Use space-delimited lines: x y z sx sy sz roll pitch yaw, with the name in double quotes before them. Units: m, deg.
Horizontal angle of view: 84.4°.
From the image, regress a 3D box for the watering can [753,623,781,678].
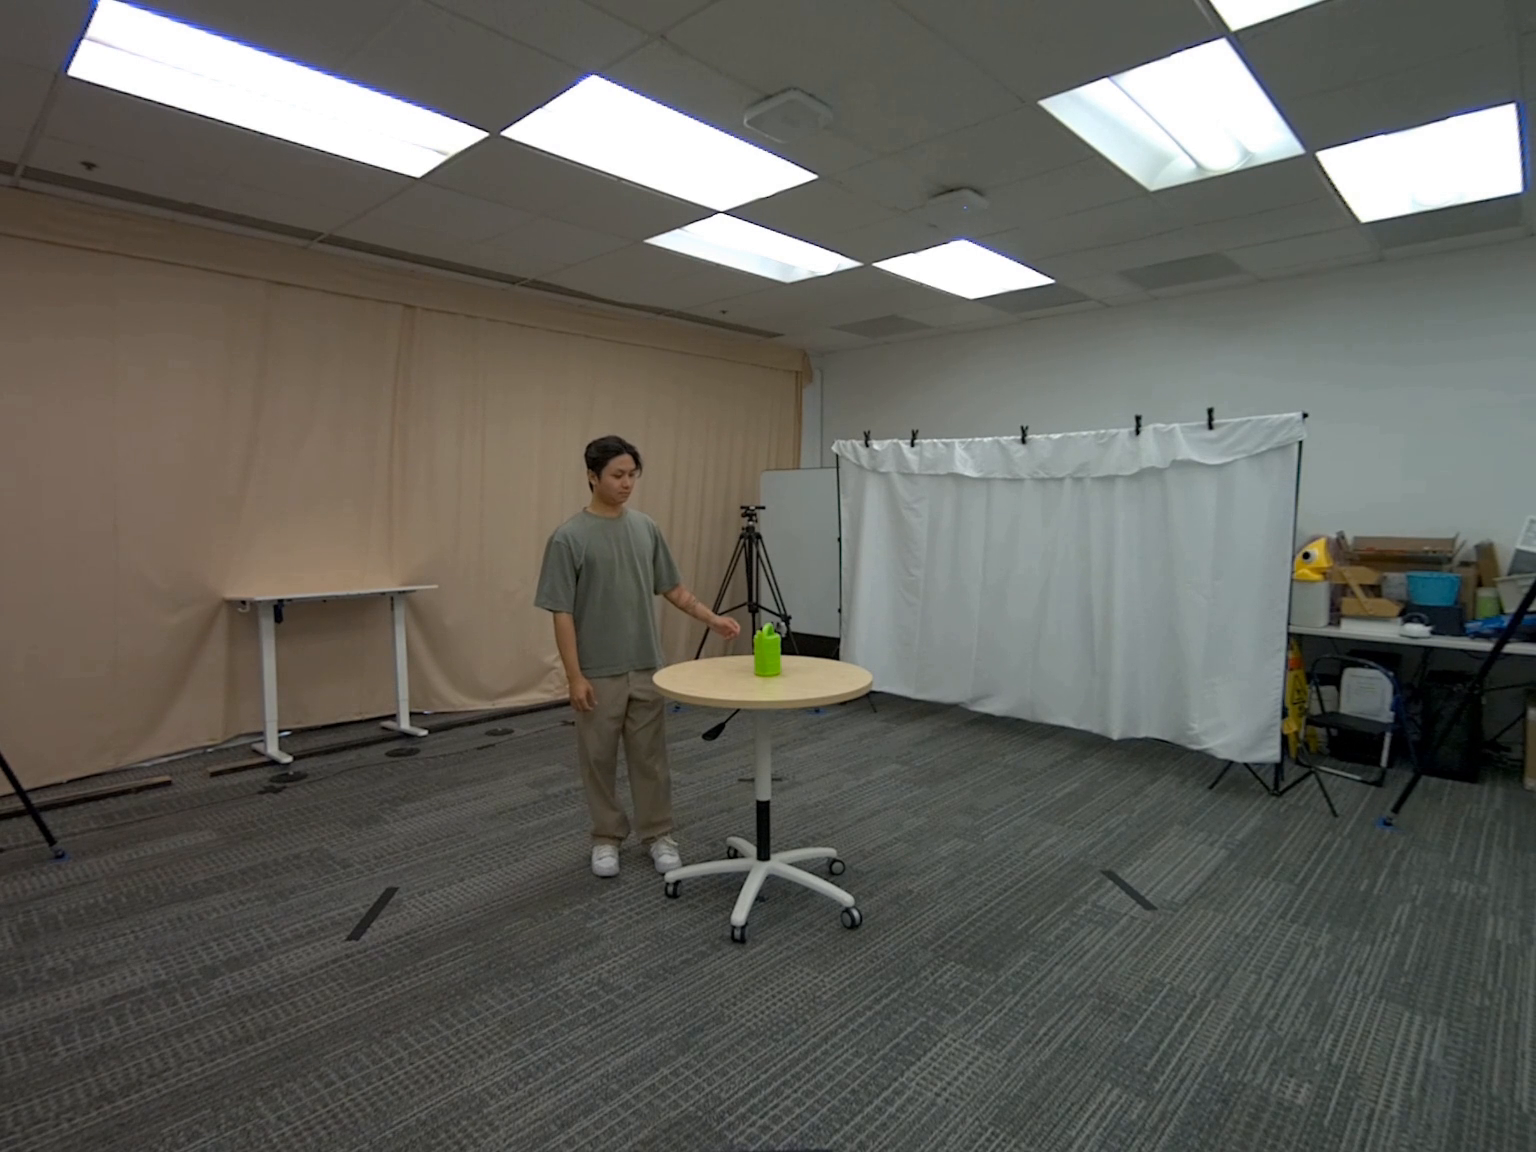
"watering can" -0.017 0.262 2.942 0.101 0.176 0.271 2 3 29
